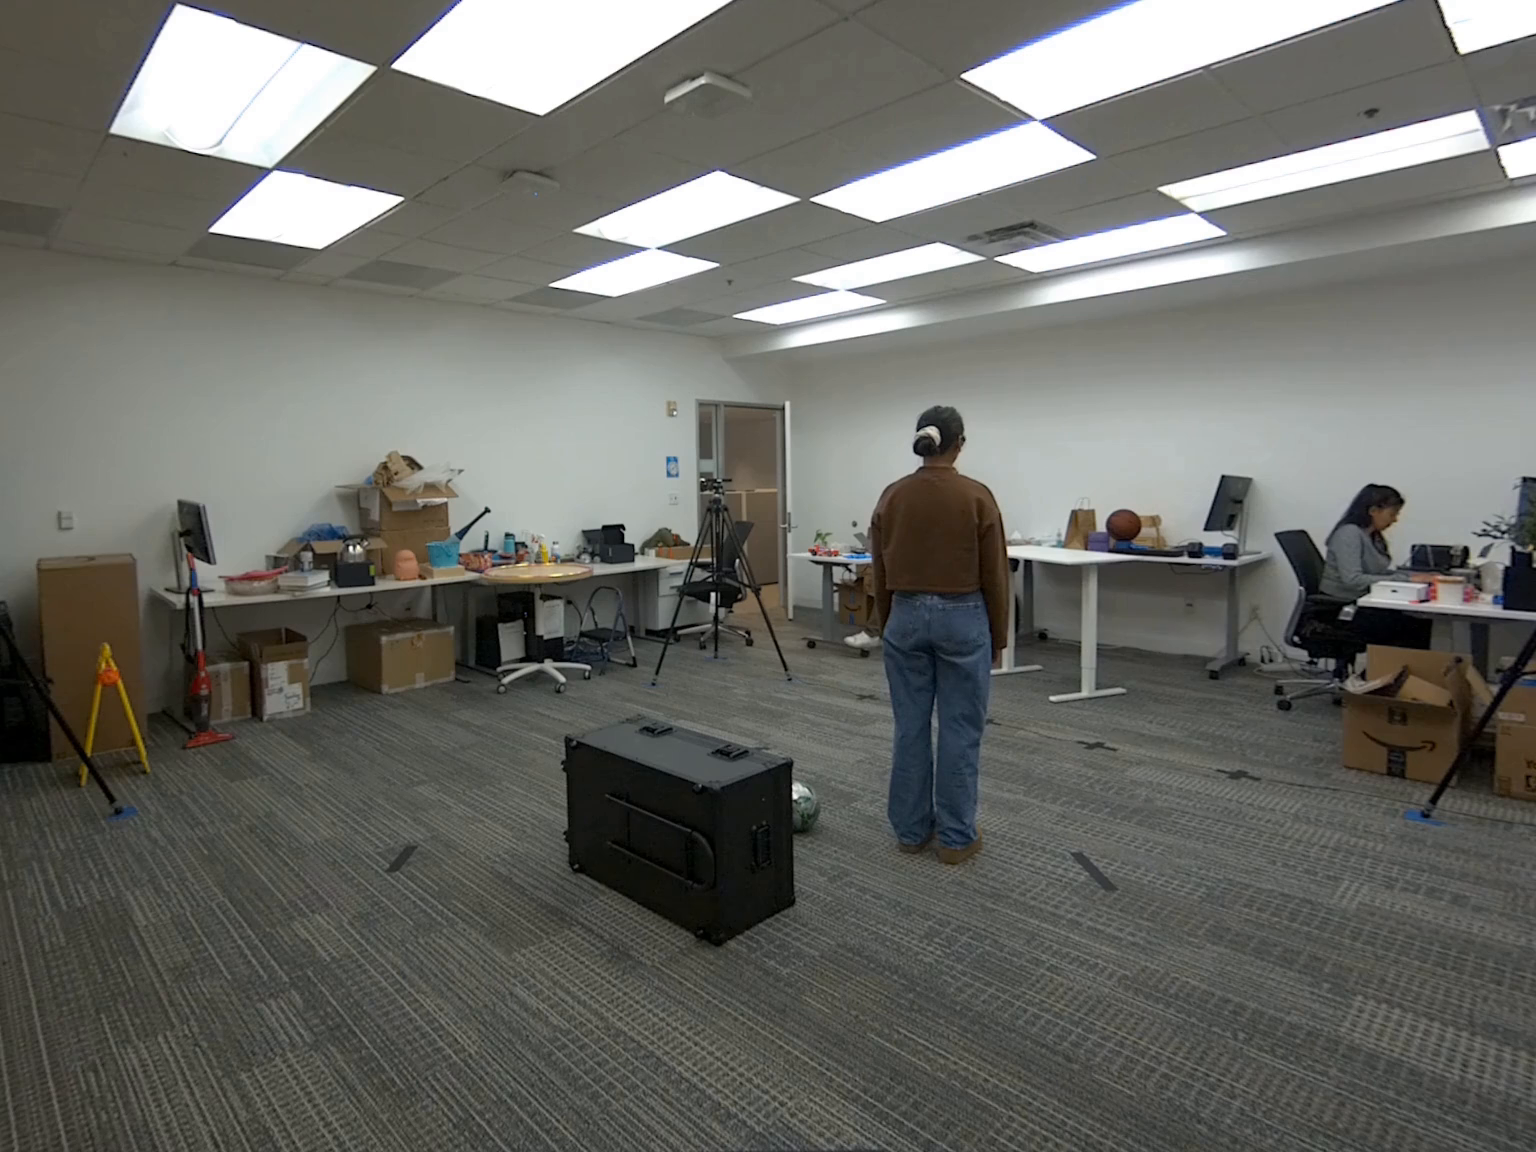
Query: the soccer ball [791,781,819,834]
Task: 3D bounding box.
[{"bbox_3d":[0.124,0.910,3.412,0.187,0.187,0.188,-1,5,-2],"label":"soccer ball"}]
